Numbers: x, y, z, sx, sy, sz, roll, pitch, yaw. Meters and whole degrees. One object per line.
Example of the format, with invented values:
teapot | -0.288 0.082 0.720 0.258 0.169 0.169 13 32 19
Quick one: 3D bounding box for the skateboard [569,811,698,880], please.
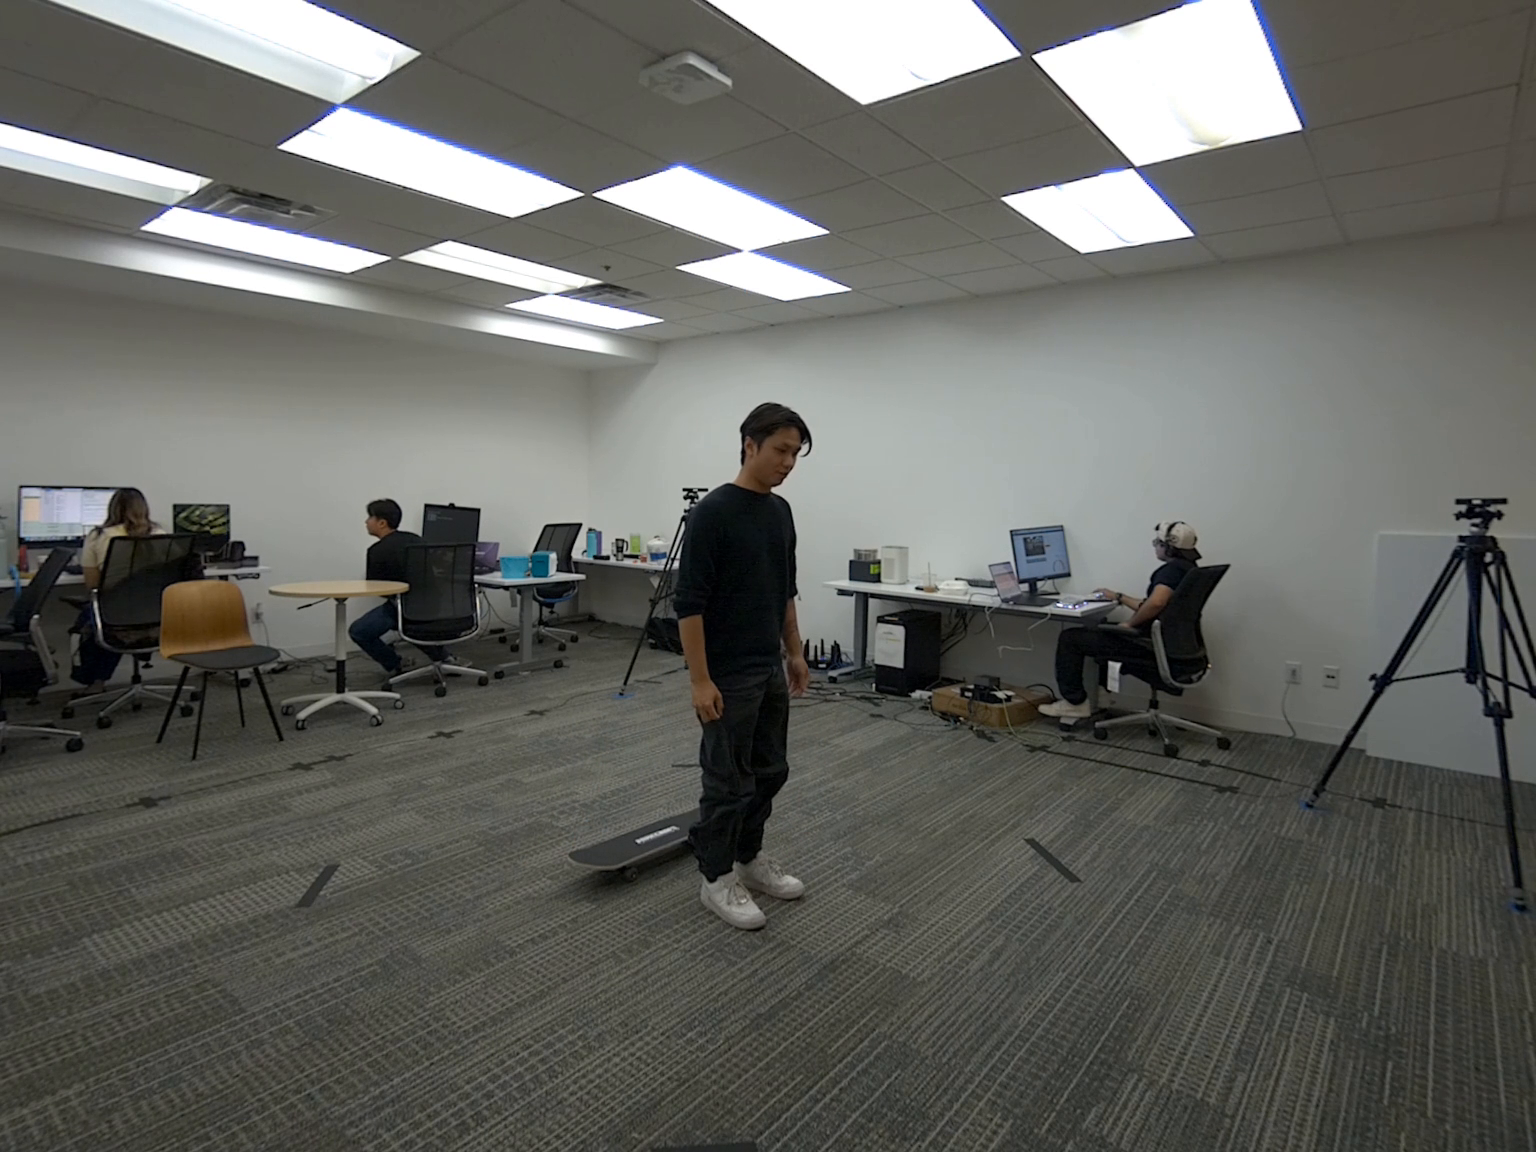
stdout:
skateboard | -0.419 1.000 3.199 0.200 0.110 0.762 4 6 41
